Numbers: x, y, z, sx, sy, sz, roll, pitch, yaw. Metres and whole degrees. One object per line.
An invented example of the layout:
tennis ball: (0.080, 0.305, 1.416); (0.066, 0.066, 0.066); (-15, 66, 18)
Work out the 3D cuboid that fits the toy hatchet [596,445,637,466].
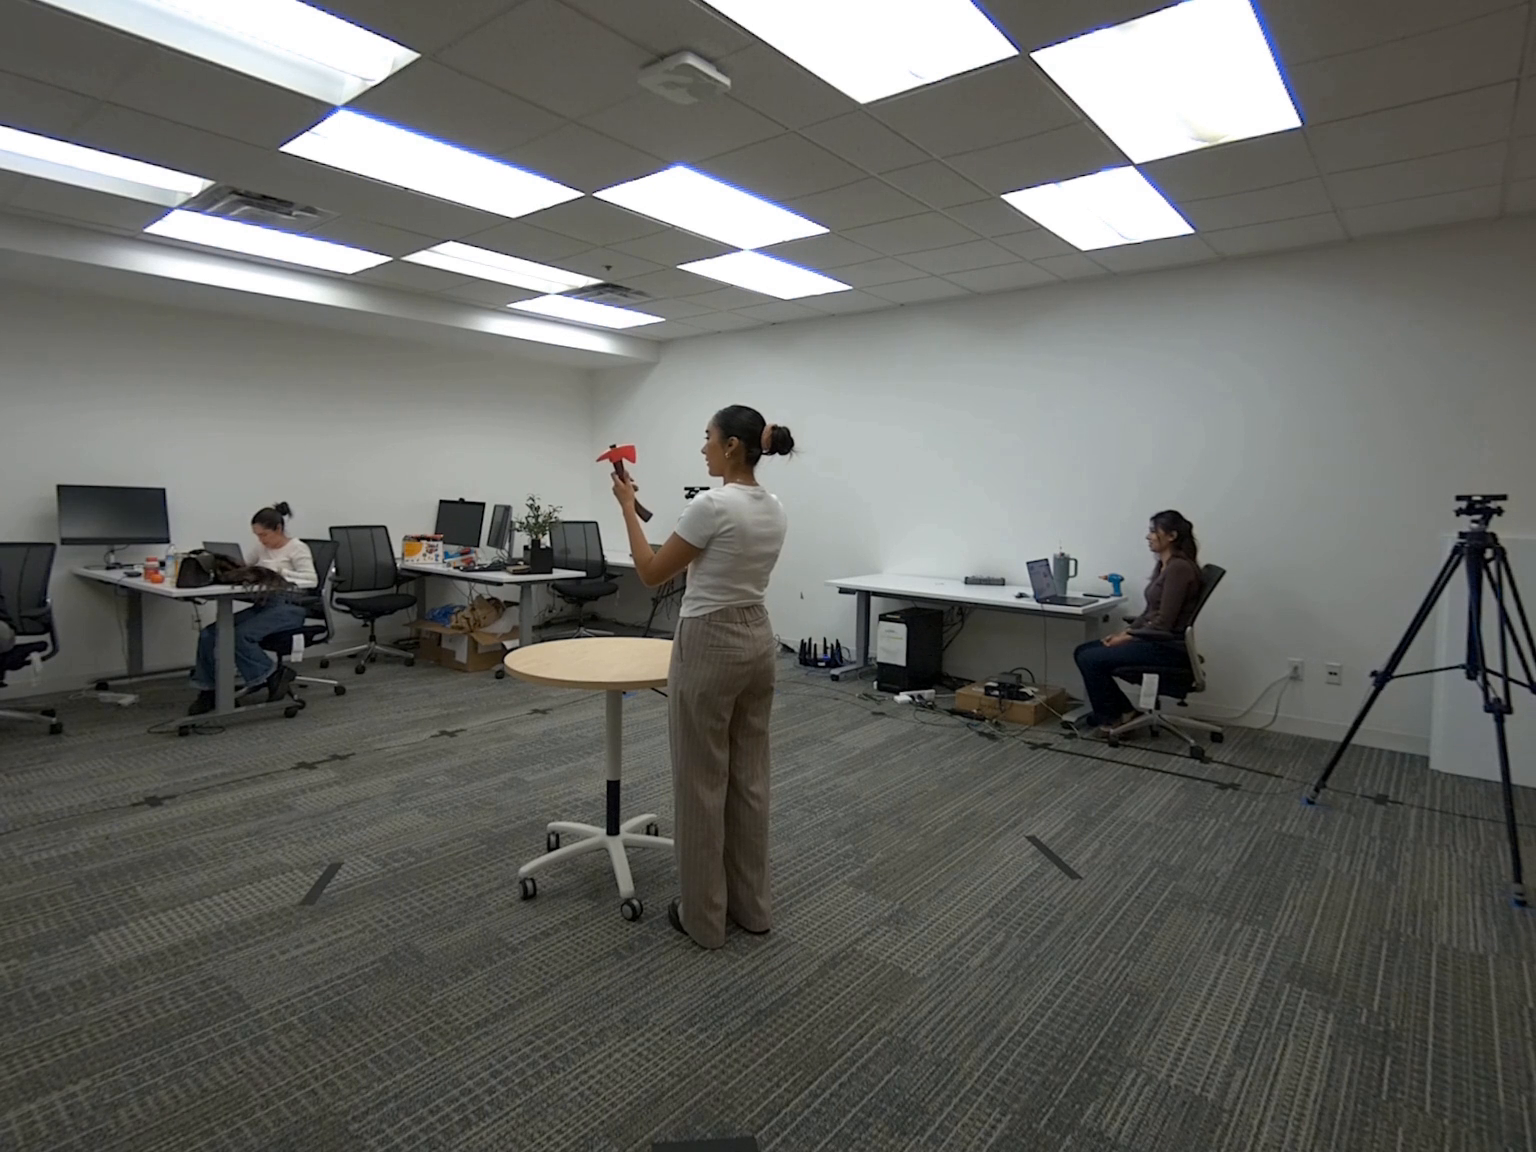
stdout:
toy hatchet: (-0.437, -0.313, 2.718); (0.131, 0.262, 0.030); (-43, 23, -16)
